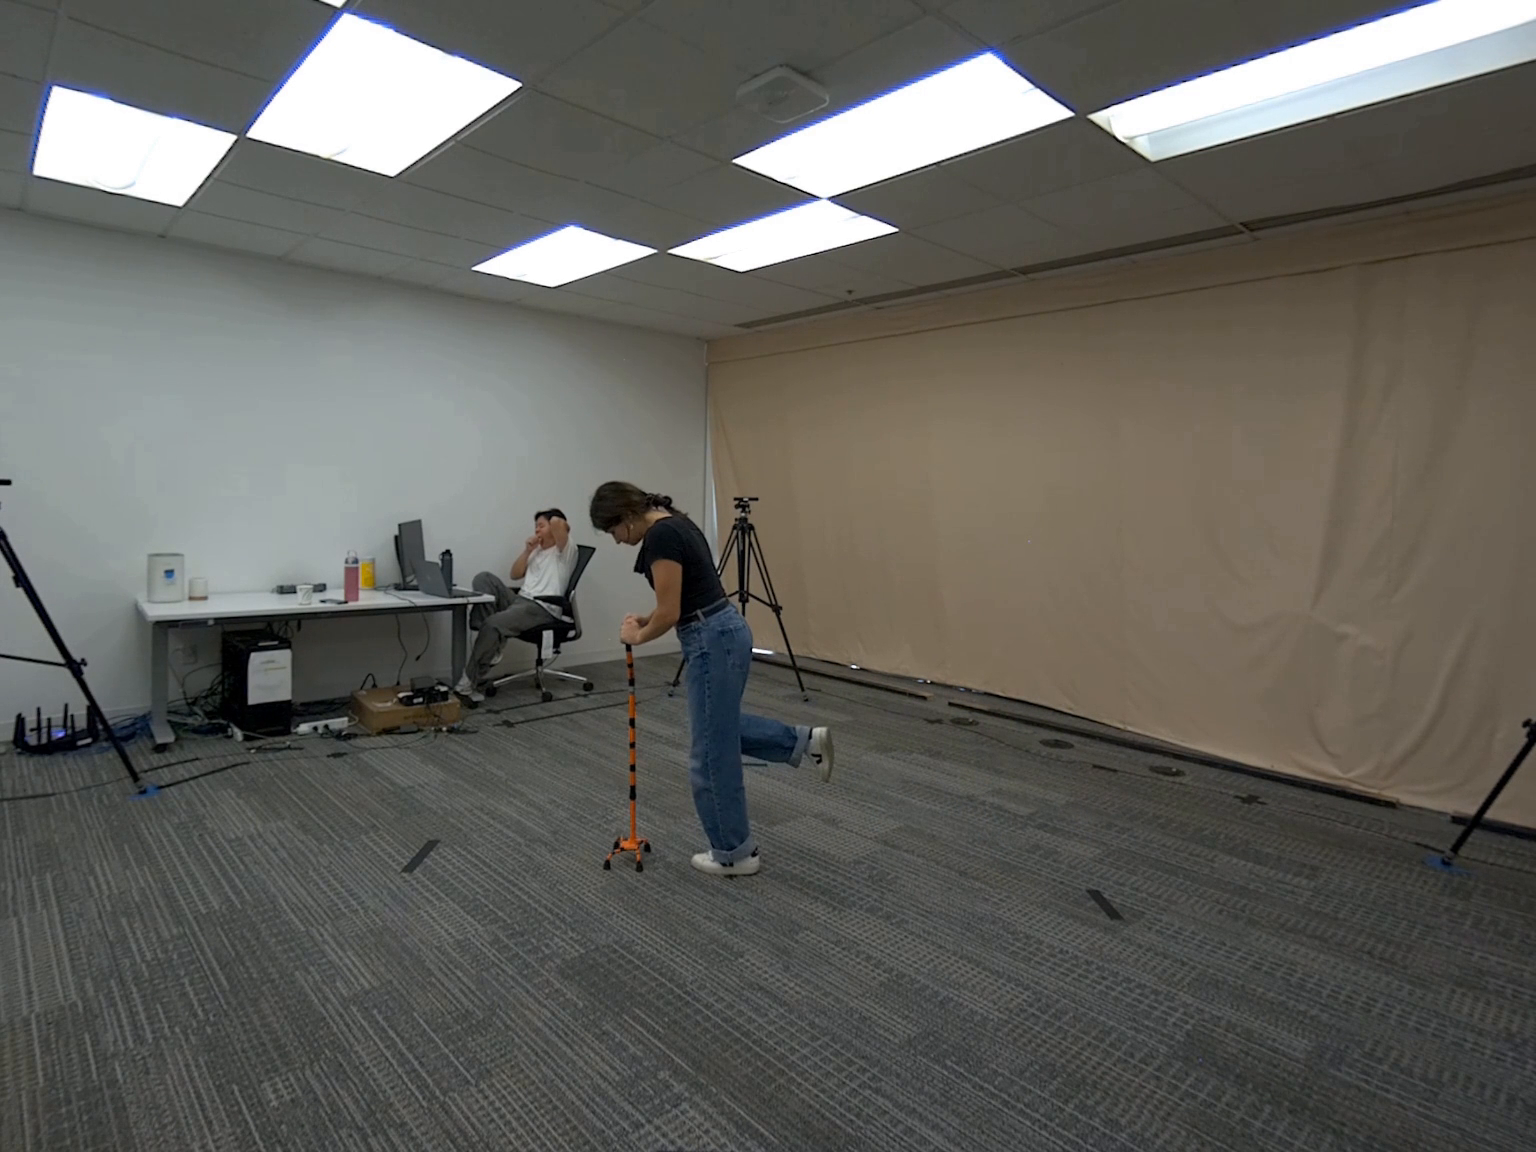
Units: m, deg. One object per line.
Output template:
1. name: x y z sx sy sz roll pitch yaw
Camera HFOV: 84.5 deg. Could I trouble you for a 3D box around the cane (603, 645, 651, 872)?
1. cane: -0.536 0.630 3.204 0.152 0.906 0.206 1 3 3
